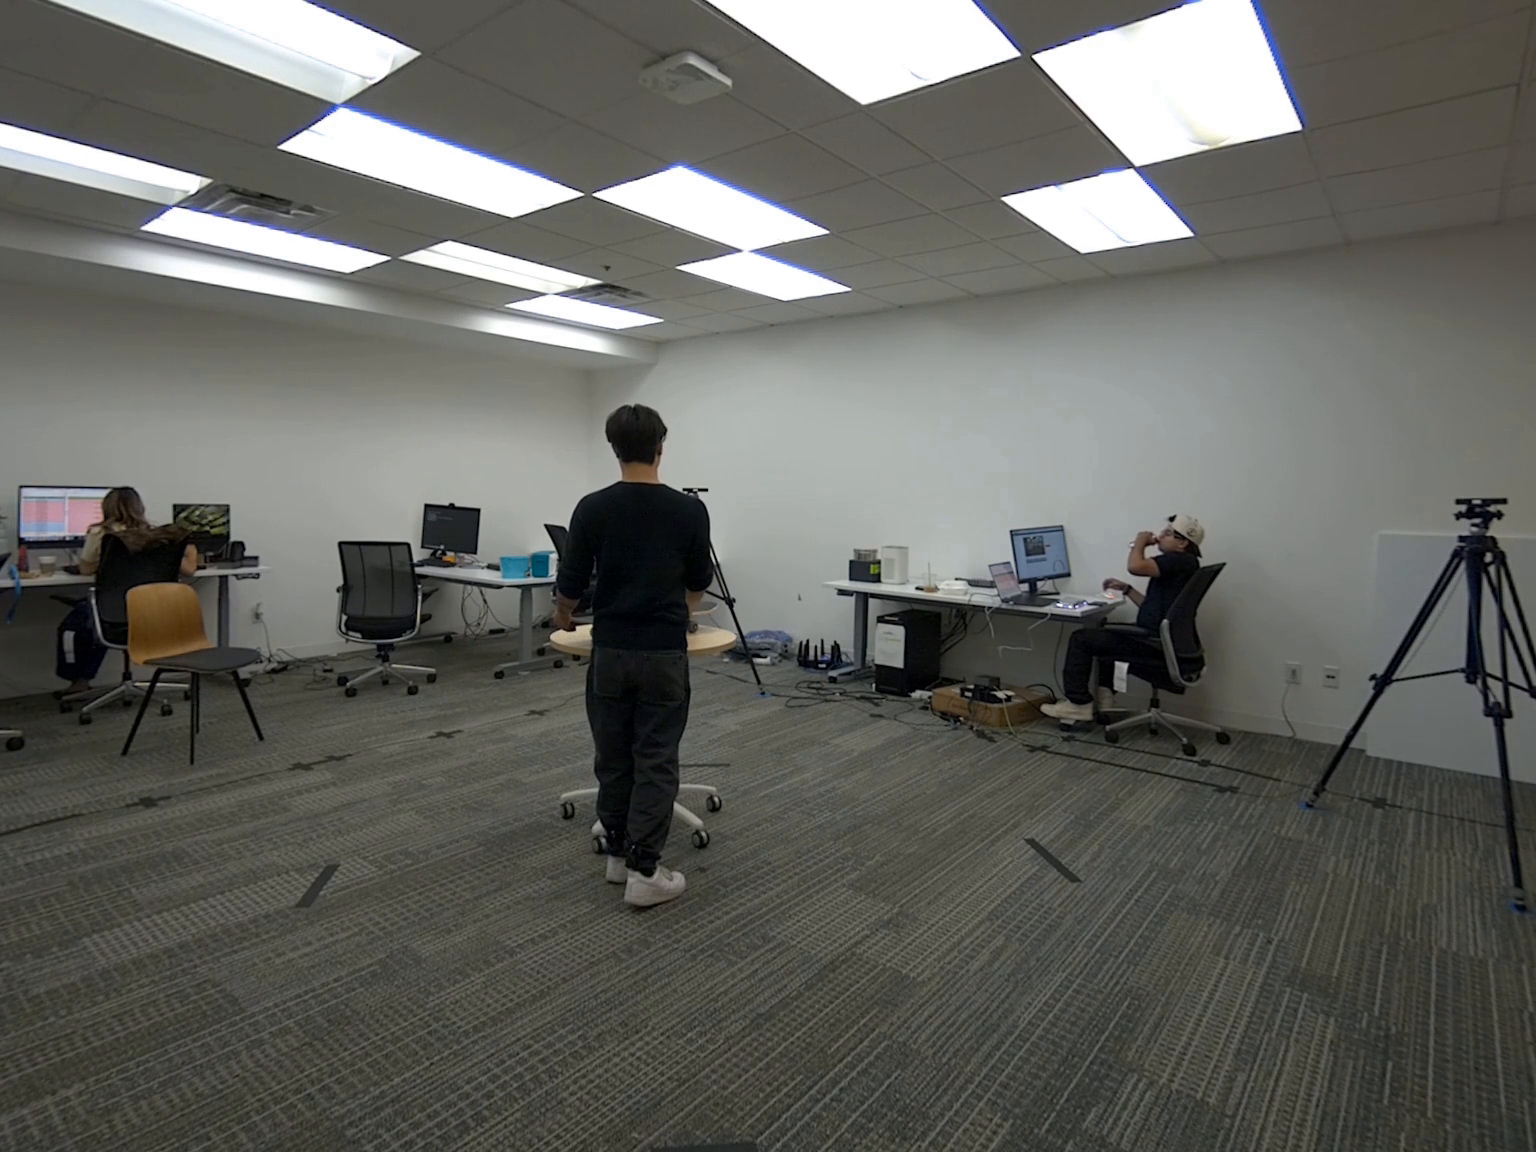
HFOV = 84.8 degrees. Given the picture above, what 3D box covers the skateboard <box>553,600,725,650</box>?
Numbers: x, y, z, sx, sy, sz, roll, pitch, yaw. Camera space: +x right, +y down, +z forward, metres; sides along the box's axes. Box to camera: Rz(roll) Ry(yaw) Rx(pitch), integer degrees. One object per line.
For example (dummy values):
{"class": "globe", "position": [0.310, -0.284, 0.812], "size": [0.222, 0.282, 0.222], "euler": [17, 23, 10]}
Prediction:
{"class": "skateboard", "position": [-0.518, 0.191, 3.516], "size": [0.200, 0.110, 0.762], "euler": [3, 6, 41]}
